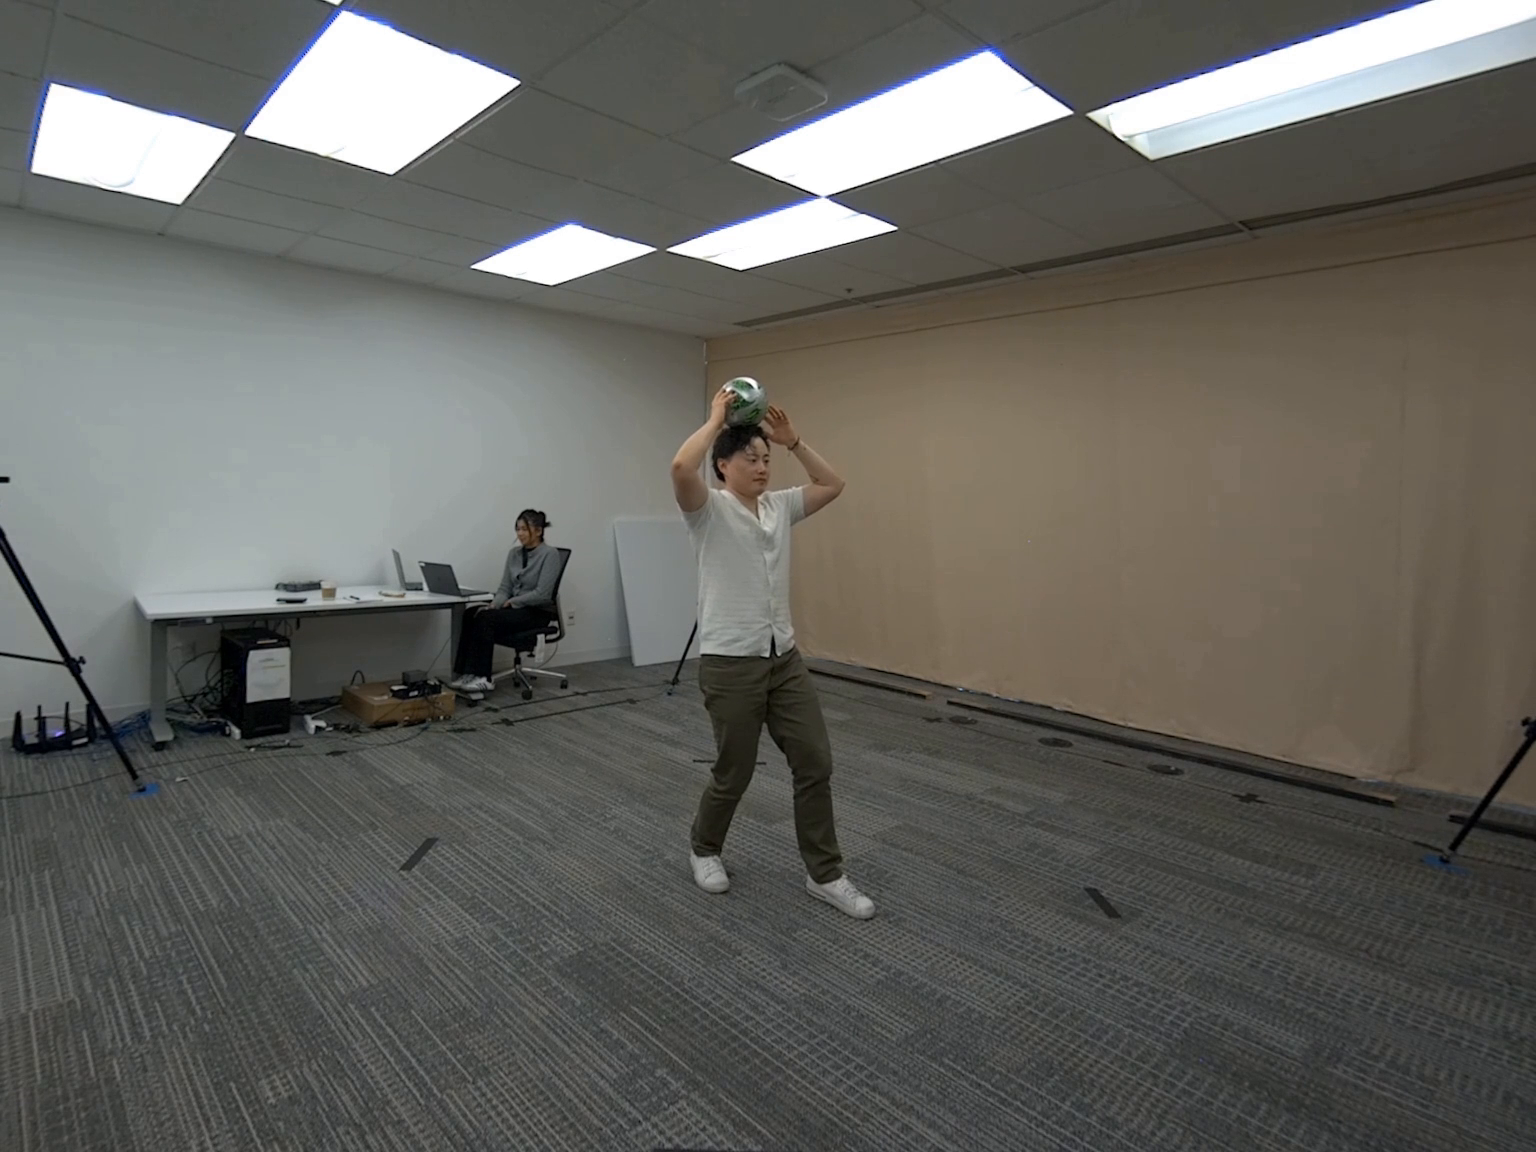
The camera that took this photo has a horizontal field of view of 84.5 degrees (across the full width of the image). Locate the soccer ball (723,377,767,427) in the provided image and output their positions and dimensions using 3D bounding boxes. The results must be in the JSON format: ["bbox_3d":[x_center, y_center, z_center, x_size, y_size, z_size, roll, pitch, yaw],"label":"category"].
[{"bbox_3d":[-0.105,-0.607,2.998,0.187,0.187,0.188,1,4,-1],"label":"soccer ball"}]
